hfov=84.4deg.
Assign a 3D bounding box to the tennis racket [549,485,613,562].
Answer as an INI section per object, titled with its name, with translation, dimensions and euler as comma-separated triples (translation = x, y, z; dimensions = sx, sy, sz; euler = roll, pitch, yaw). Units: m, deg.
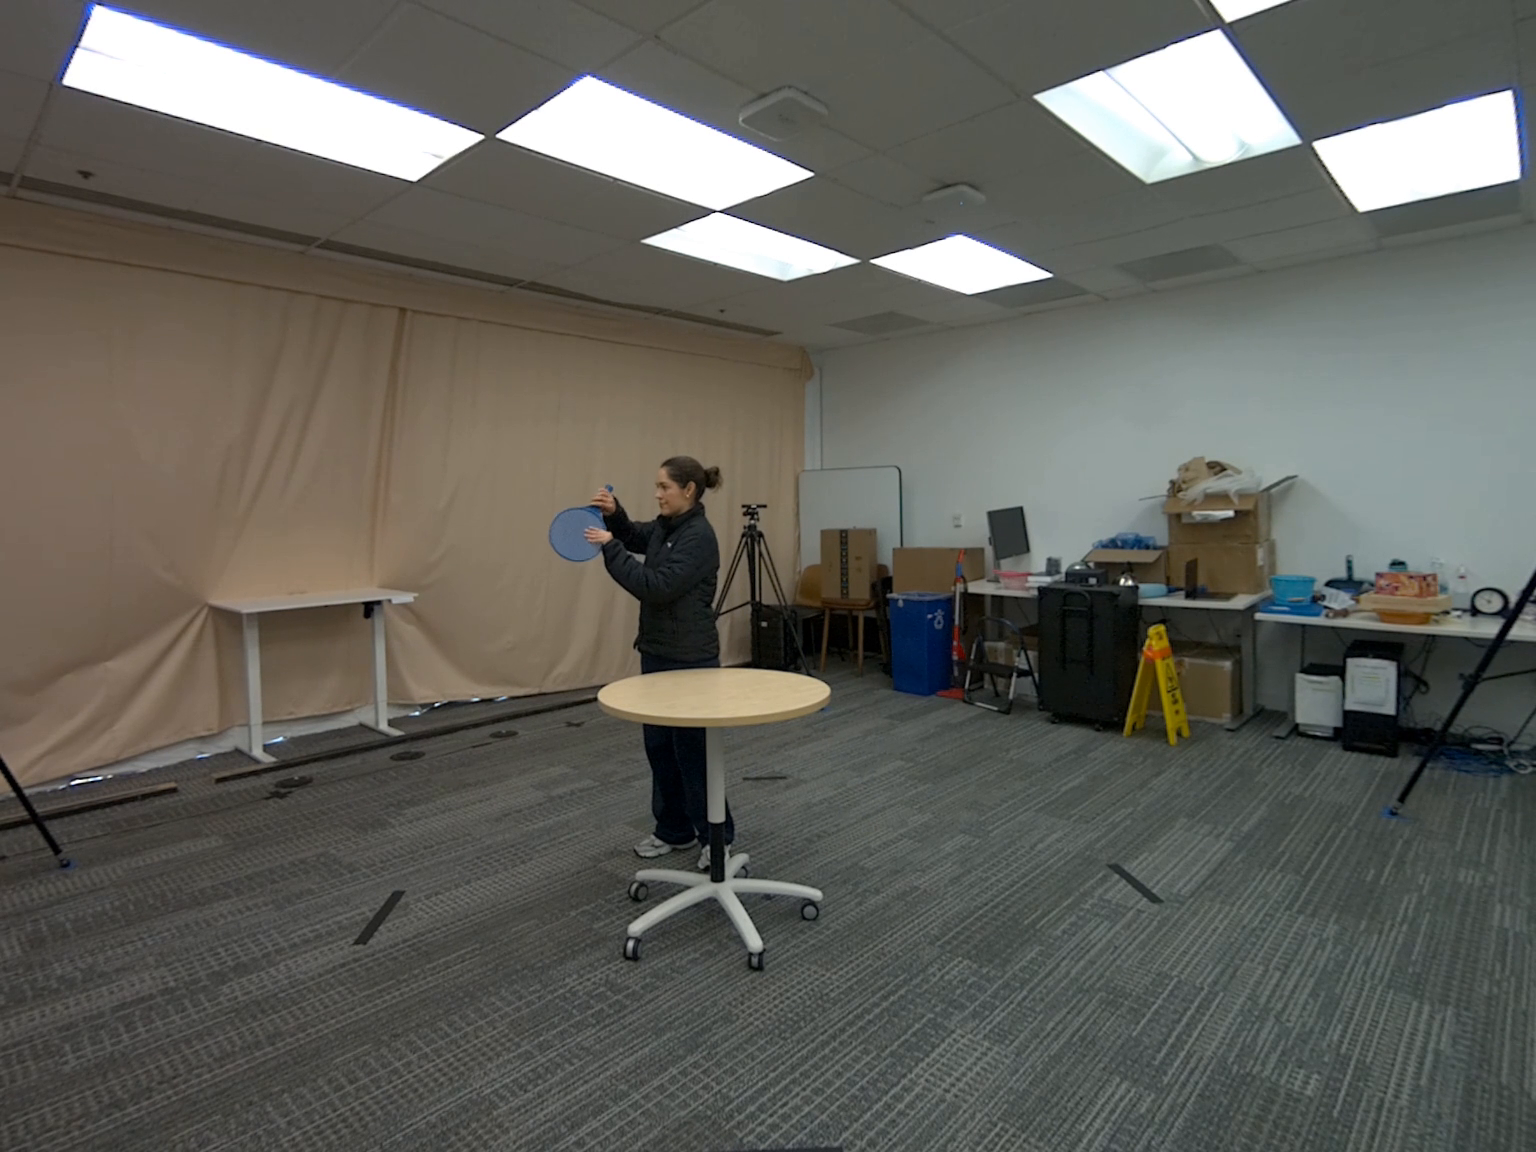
[tennis racket]
translation = -0.685, -0.212, 3.226
dimensions = 0.211, 0.437, 0.032
euler = 27, -46, -11
